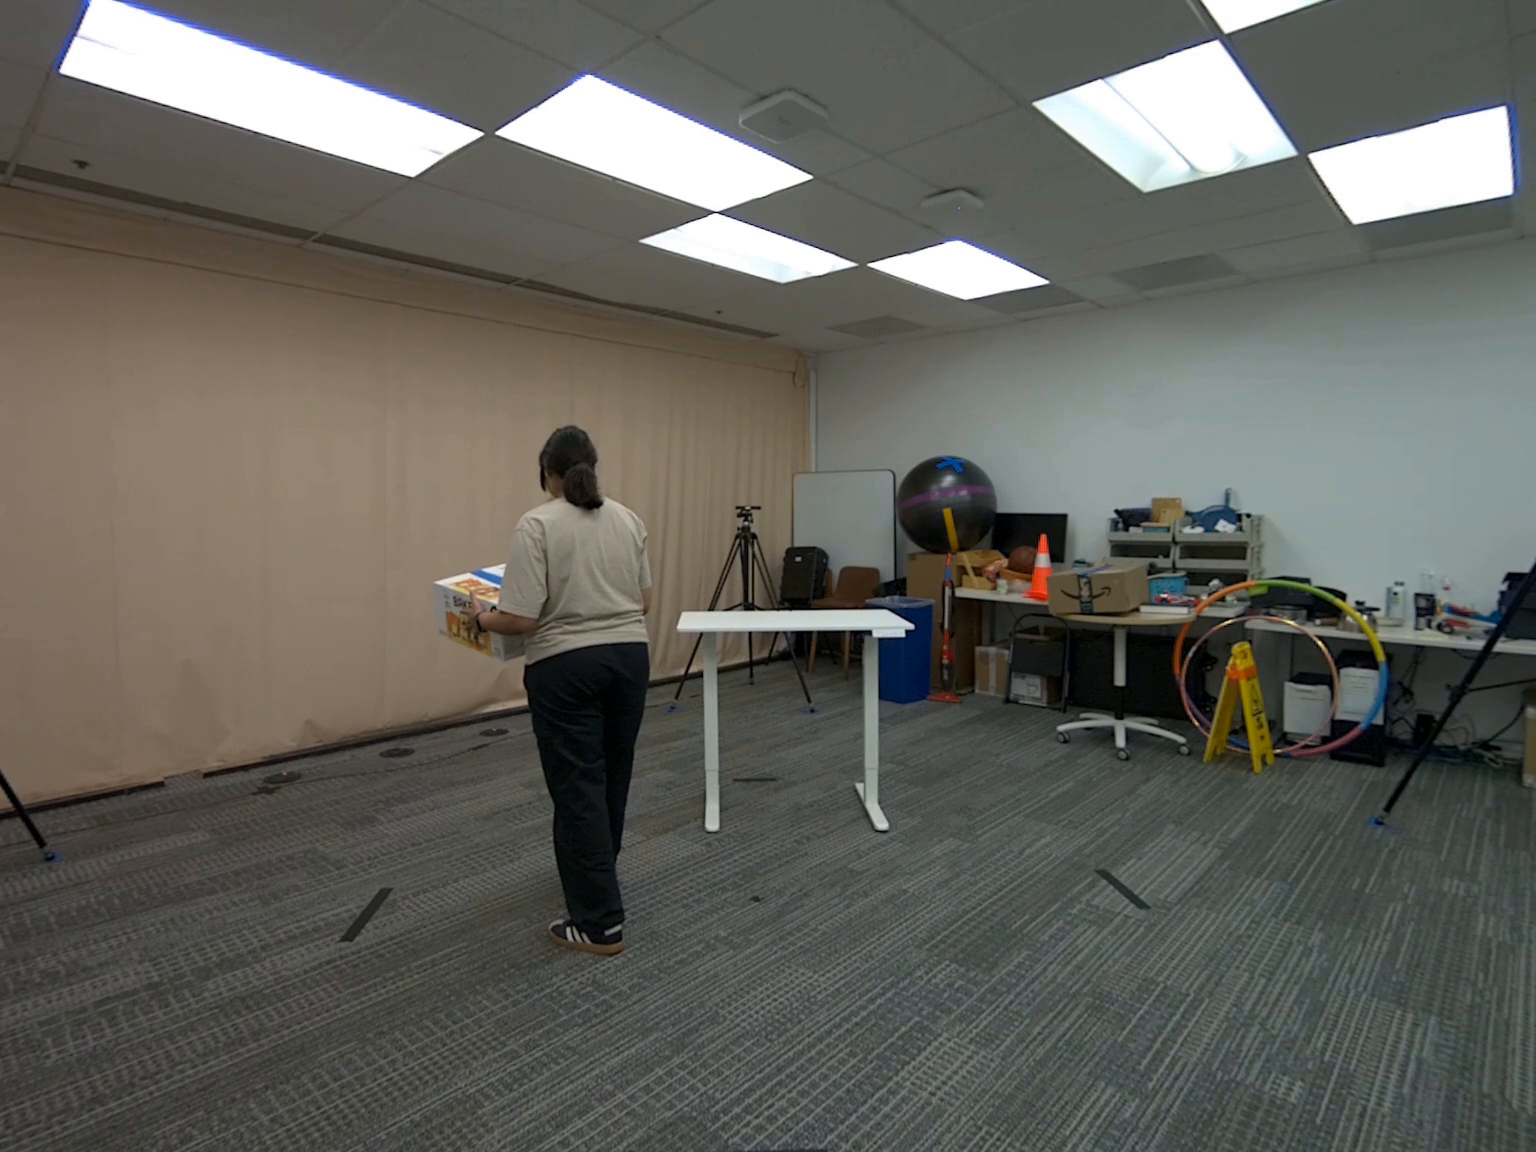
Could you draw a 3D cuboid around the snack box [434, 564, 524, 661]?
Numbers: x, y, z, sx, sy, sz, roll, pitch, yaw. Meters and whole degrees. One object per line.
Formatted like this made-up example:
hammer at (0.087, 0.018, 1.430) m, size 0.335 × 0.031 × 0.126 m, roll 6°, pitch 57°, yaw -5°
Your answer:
snack box at (-0.912, 0.115, 2.964) m, size 0.419 × 0.204 × 0.332 m, roll 13°, pitch 21°, yaw 40°
